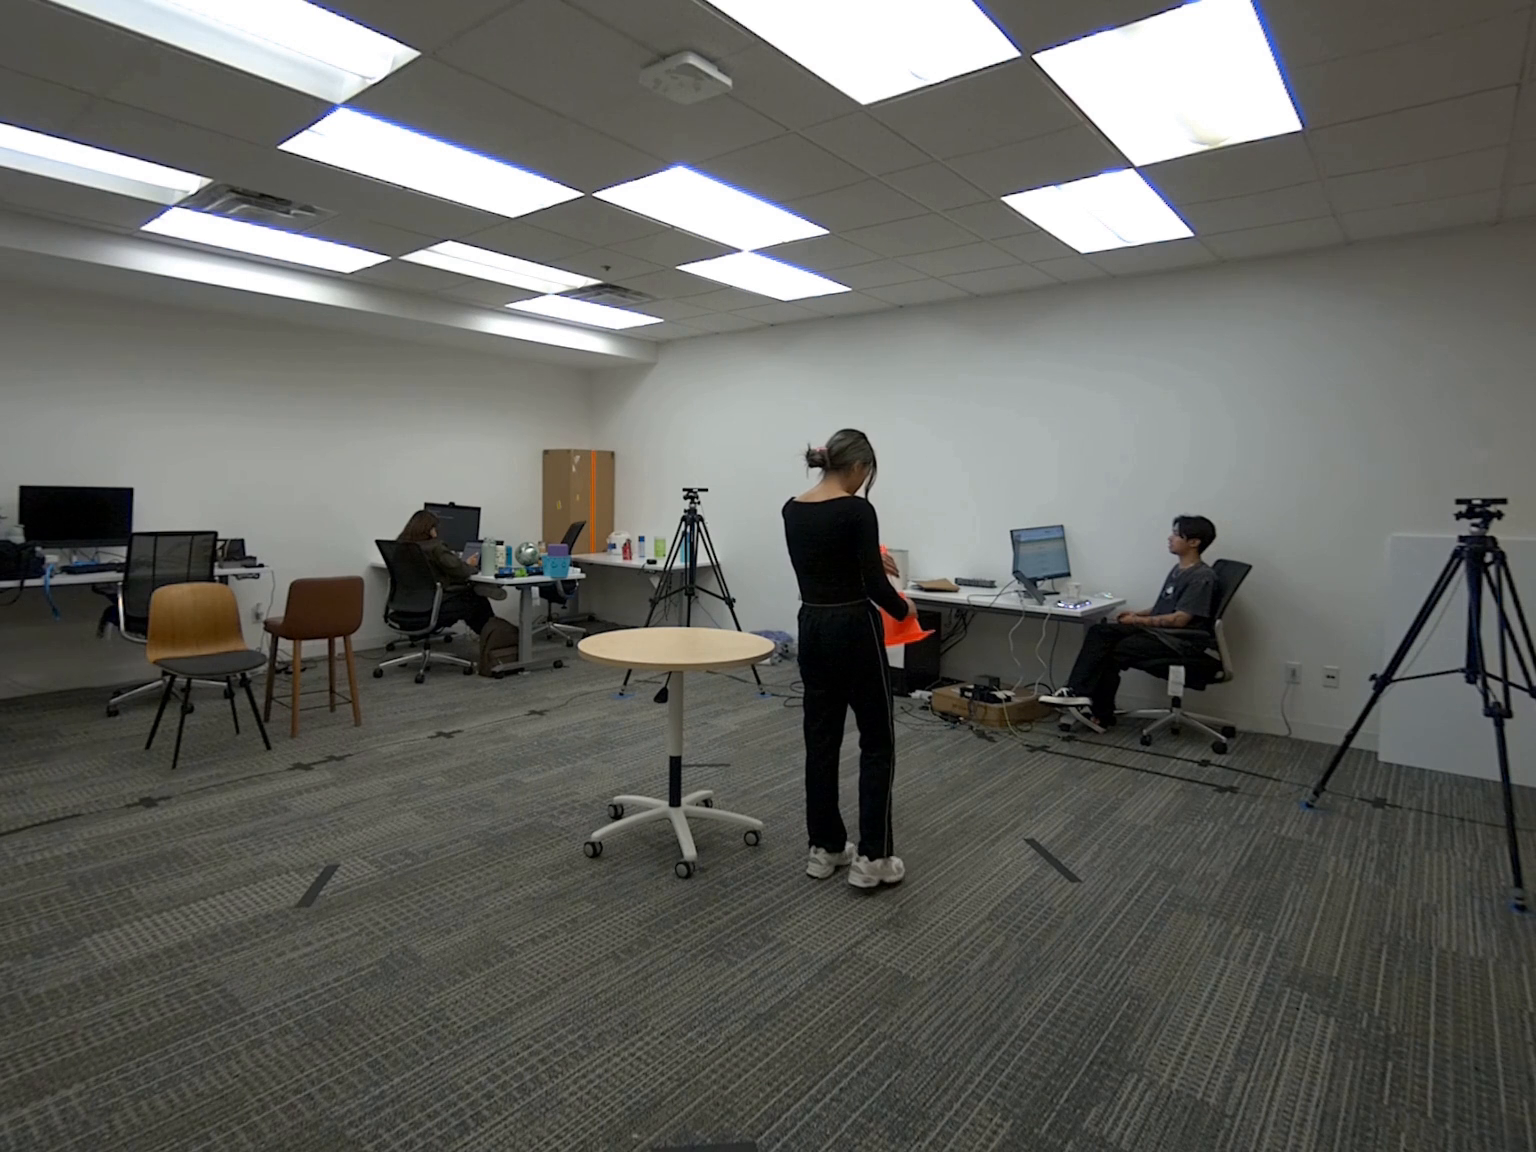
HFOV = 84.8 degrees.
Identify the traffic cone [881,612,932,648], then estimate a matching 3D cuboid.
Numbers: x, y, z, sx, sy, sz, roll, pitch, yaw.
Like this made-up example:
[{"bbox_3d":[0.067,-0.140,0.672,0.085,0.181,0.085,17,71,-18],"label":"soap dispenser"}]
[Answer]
[{"bbox_3d":[0.463,0.064,3.295,0.204,0.392,0.200,-7,-19,-7],"label":"traffic cone"}]
